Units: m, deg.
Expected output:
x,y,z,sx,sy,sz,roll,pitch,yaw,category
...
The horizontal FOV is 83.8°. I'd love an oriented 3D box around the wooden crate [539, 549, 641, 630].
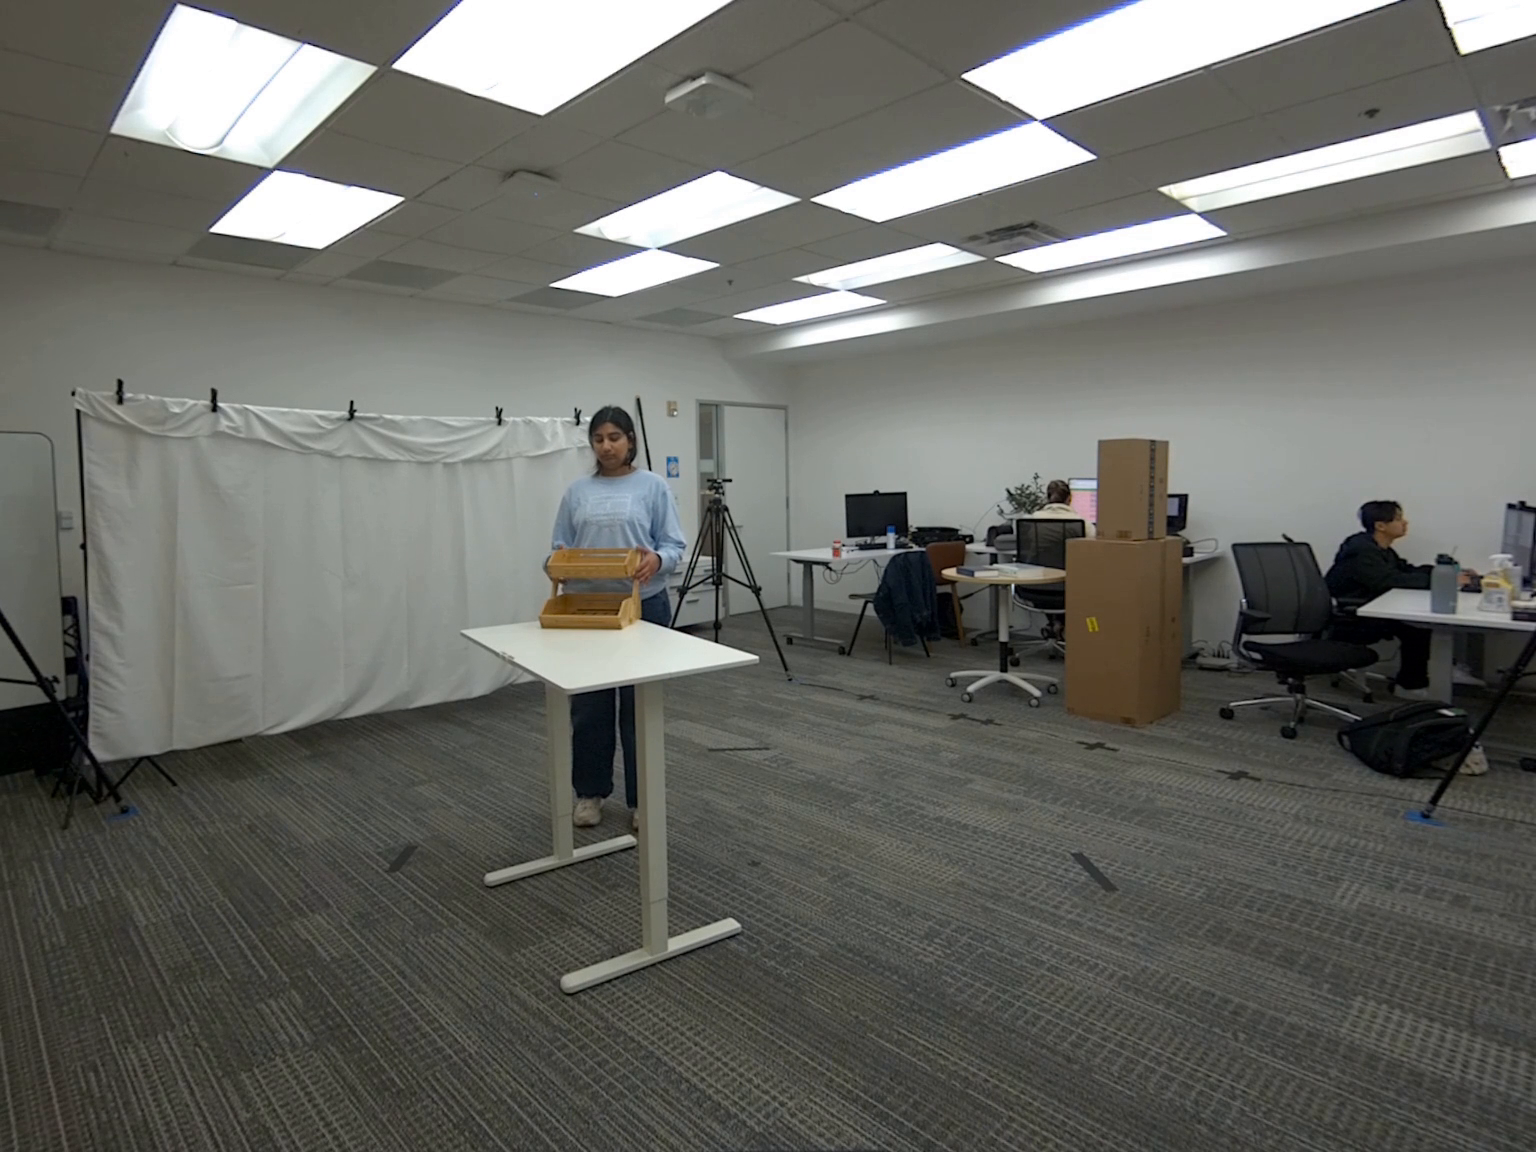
x,y,z,sx,sy,sz,roll,pitch,yaw,category
-0.636,0.039,3.109,0.328,0.272,0.300,0,4,9,wooden crate
